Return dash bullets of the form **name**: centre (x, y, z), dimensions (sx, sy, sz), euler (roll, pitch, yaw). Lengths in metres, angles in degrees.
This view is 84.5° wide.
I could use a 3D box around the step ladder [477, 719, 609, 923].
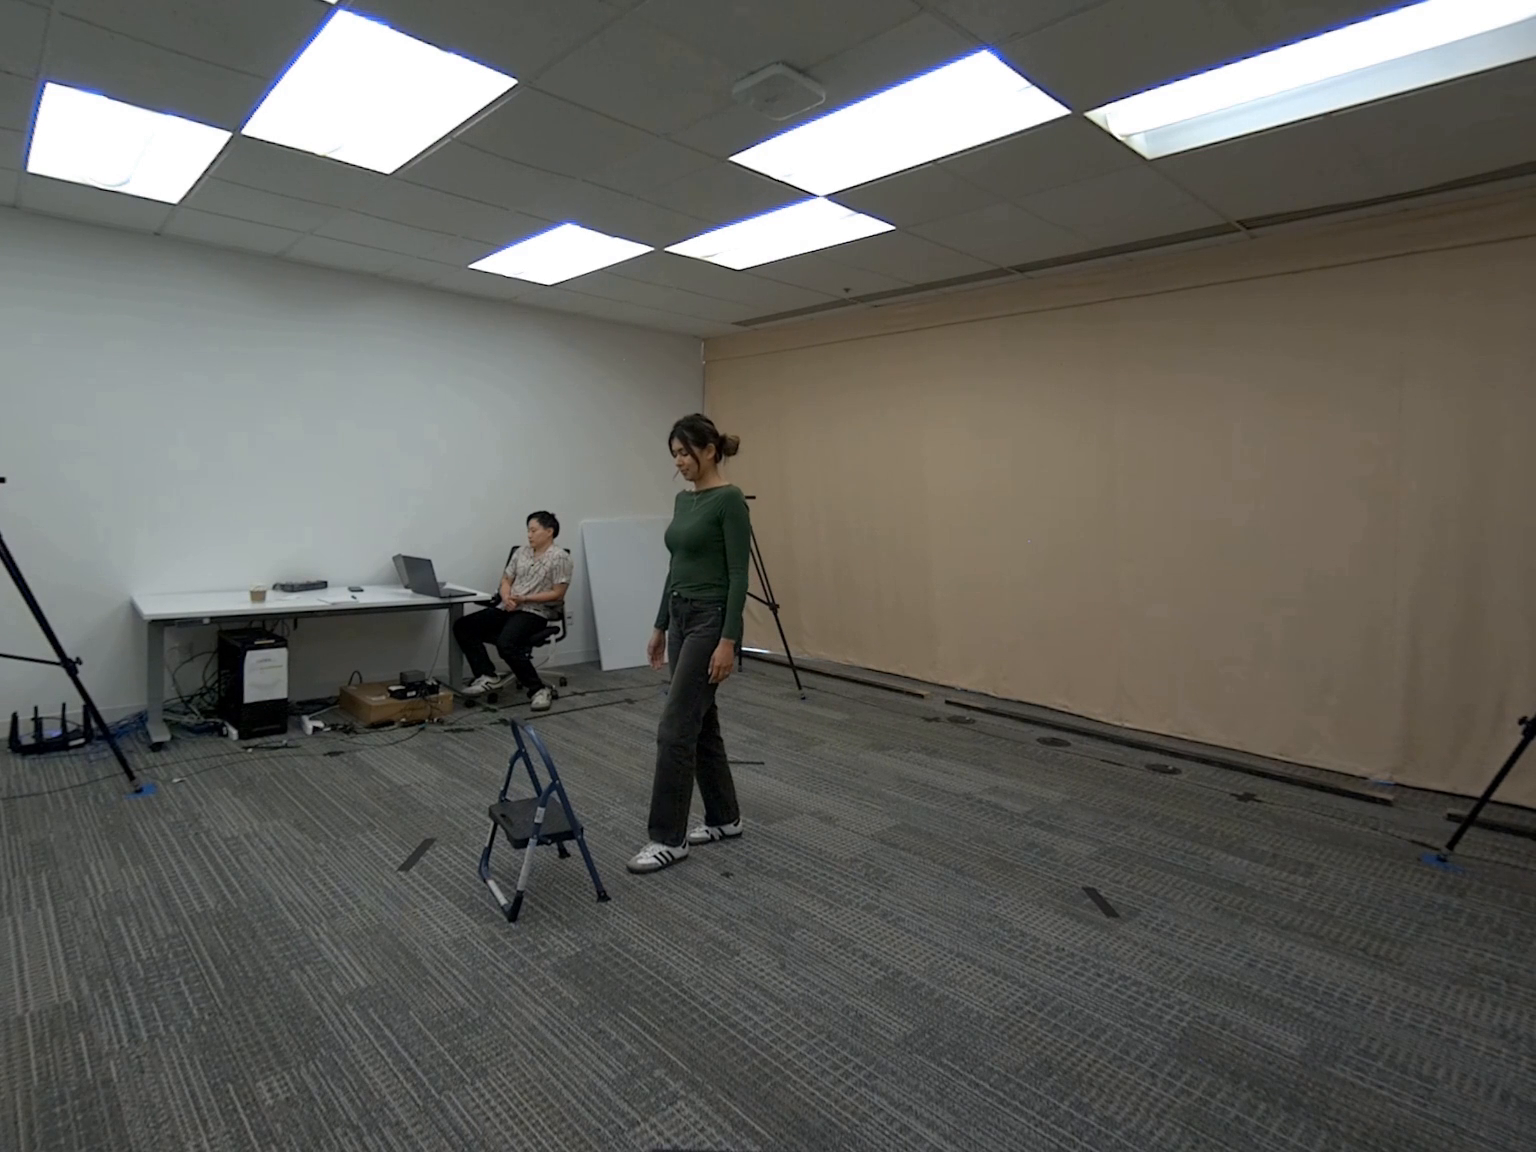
- **step ladder**: centre (-0.801, 0.798, 2.959), dimensions (0.342, 0.604, 0.441), euler (-1, 4, -33)
